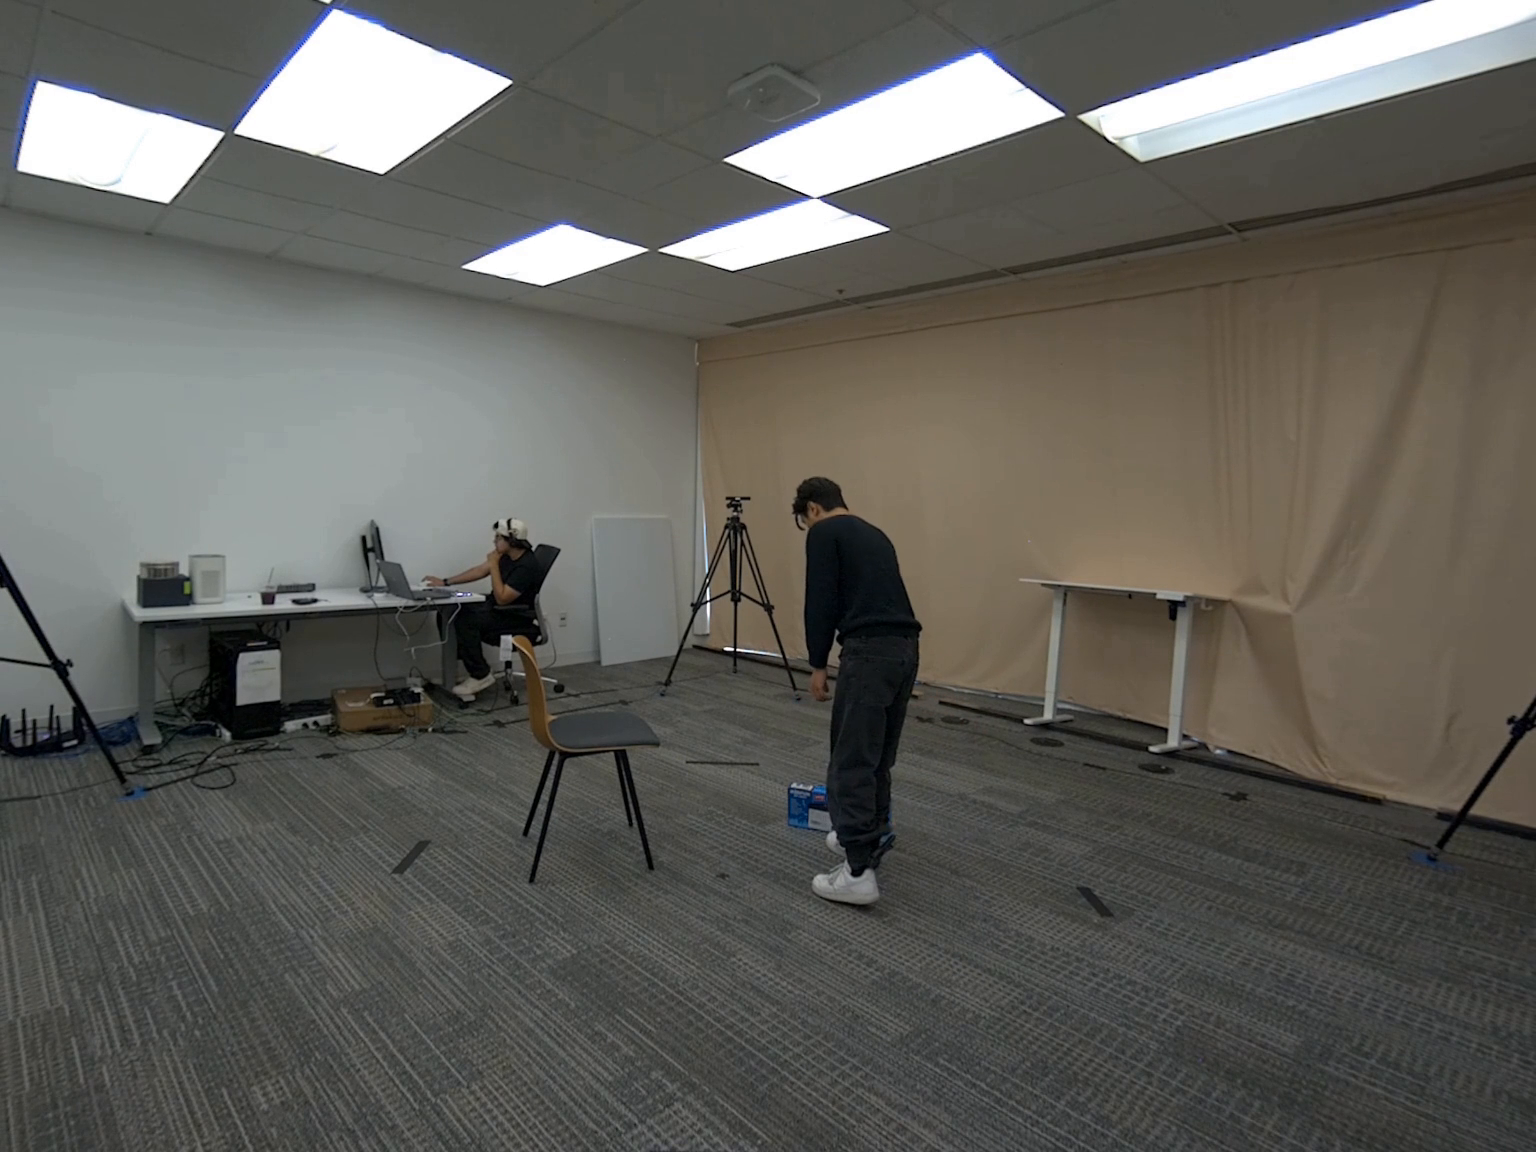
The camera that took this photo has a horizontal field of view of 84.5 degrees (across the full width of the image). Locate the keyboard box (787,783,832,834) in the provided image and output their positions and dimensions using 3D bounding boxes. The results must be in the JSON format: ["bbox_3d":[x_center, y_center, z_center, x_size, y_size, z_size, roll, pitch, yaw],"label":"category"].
[{"bbox_3d":[0.292,0.991,3.536,0.444,0.175,0.058,3,8,22],"label":"keyboard box"}]
